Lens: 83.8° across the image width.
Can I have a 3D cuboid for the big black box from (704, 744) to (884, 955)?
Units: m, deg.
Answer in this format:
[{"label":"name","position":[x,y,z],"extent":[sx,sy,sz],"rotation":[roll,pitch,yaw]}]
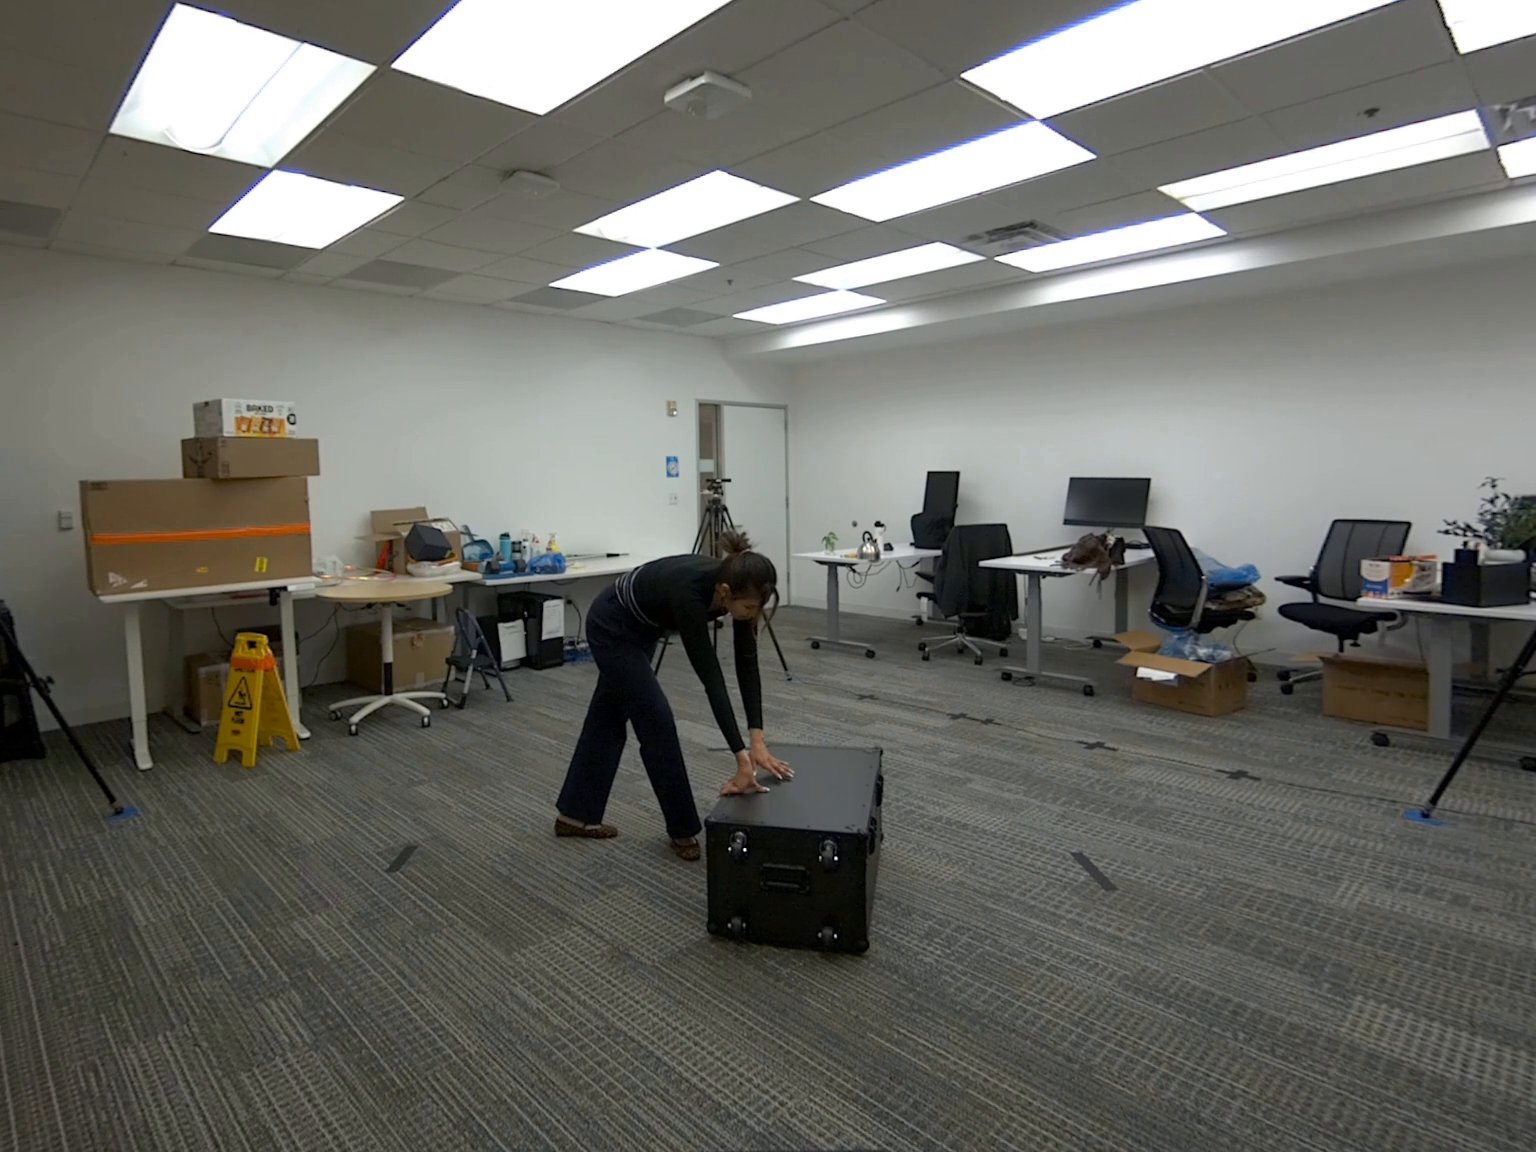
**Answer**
[{"label":"big black box","position":[0.117,0.877,2.857],"extent":[0.528,0.395,0.854],"rotation":[0,5,12]}]
